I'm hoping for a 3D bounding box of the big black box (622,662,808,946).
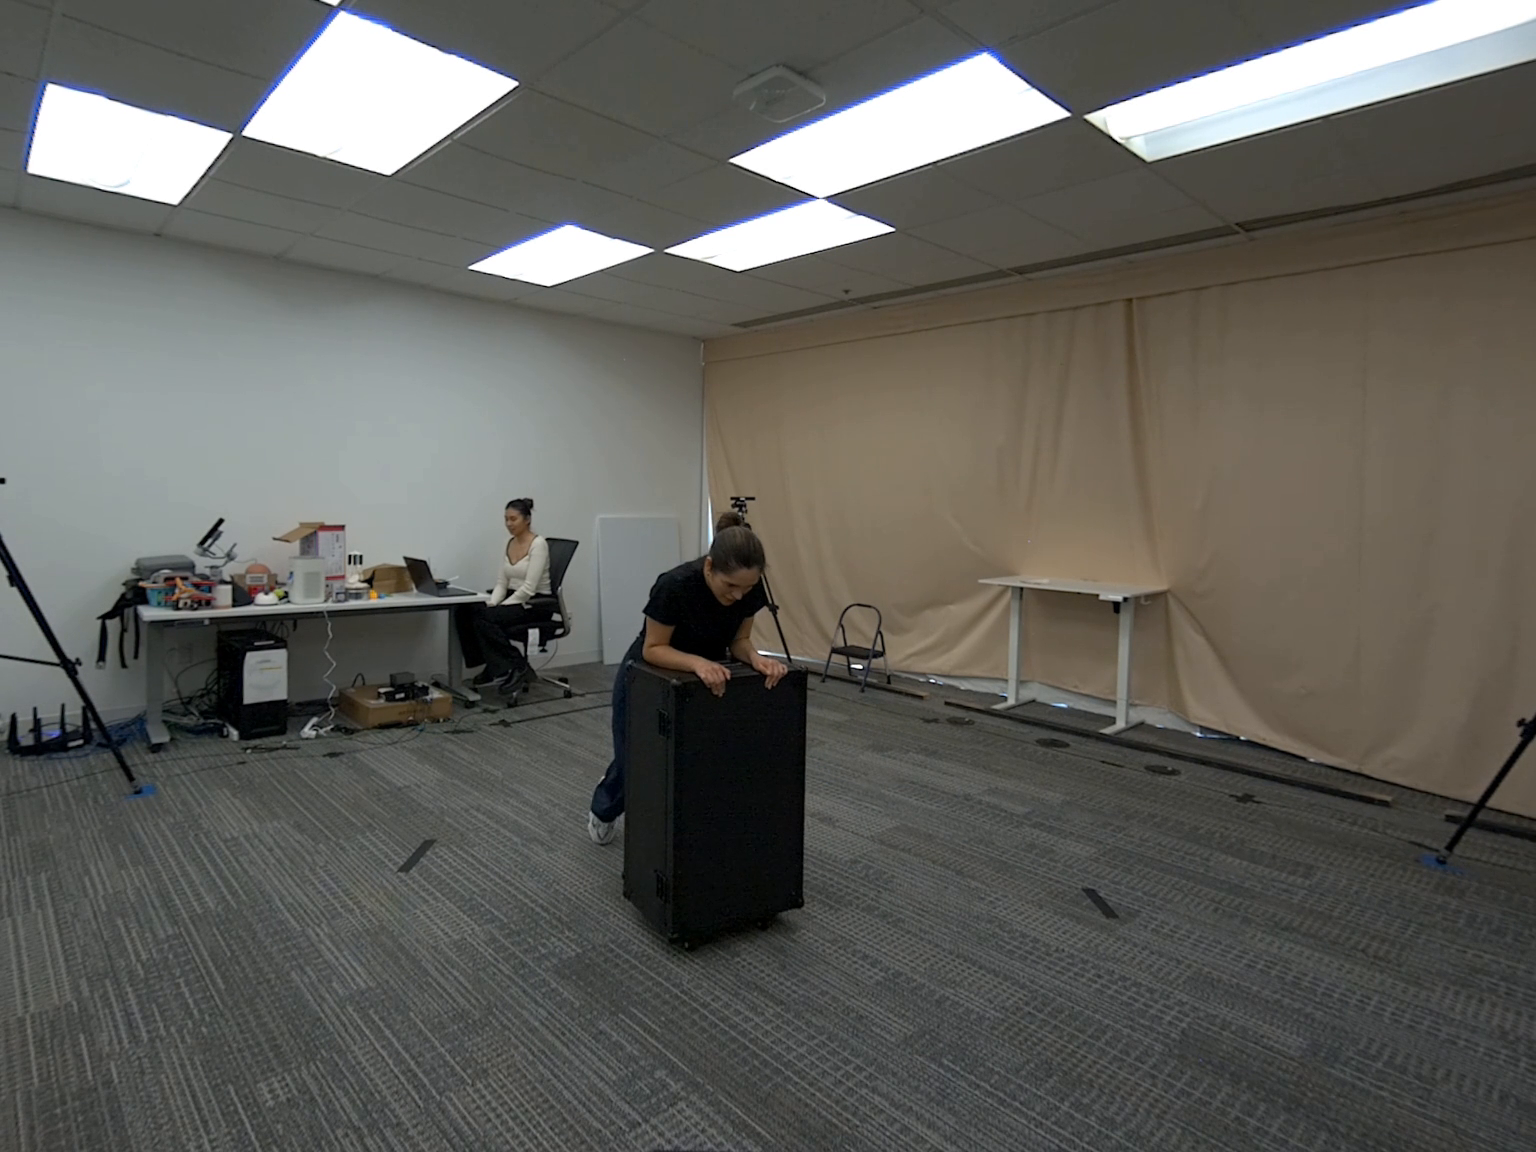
[{"bbox_3d":[-0.182,0.656,2.735,0.510,0.859,0.405,-2,4,-32],"label":"big black box"}]
